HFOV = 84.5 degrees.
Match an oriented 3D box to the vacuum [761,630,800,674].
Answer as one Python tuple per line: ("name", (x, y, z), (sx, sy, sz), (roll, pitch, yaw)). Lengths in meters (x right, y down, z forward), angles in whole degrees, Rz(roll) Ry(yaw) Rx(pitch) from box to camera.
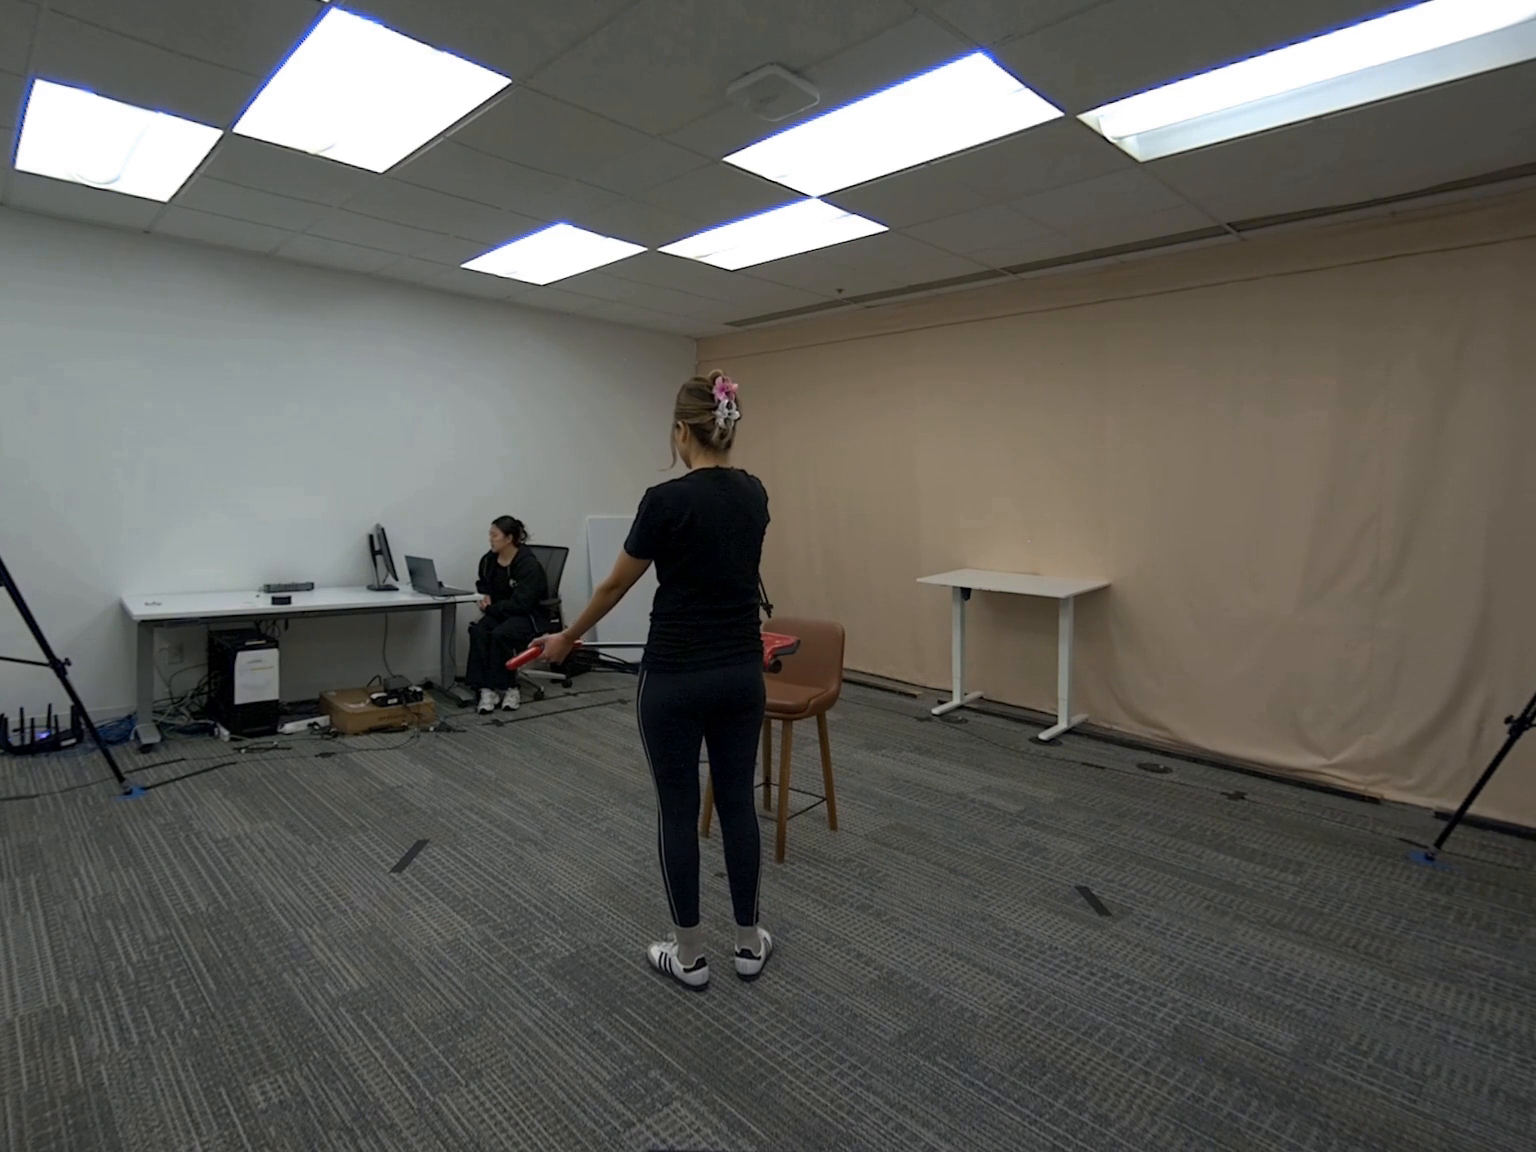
("vacuum", (-0.369, 0.283, 2.763), (1.024, 0.144, 0.259), (2, 1, -40))
